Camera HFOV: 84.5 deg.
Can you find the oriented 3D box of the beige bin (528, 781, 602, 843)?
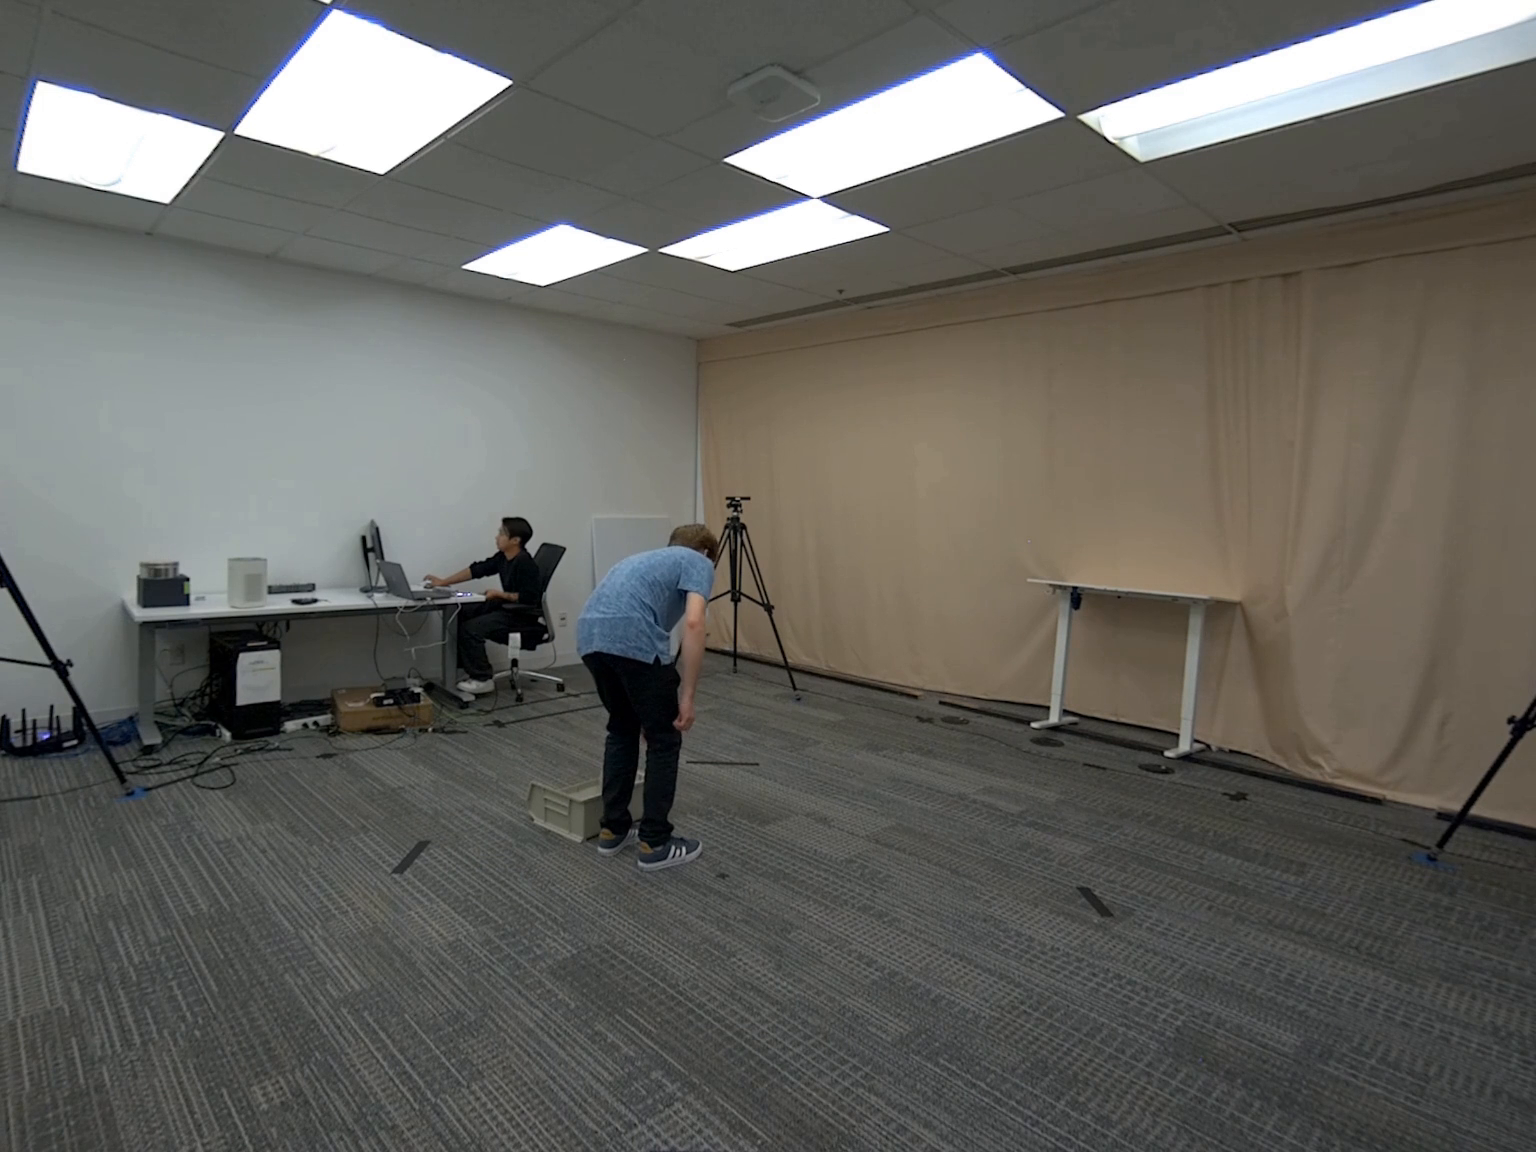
[{"bbox_3d":[-0.765,0.954,3.632,0.387,0.188,0.413,7,7,39],"label":"beige bin"}]
